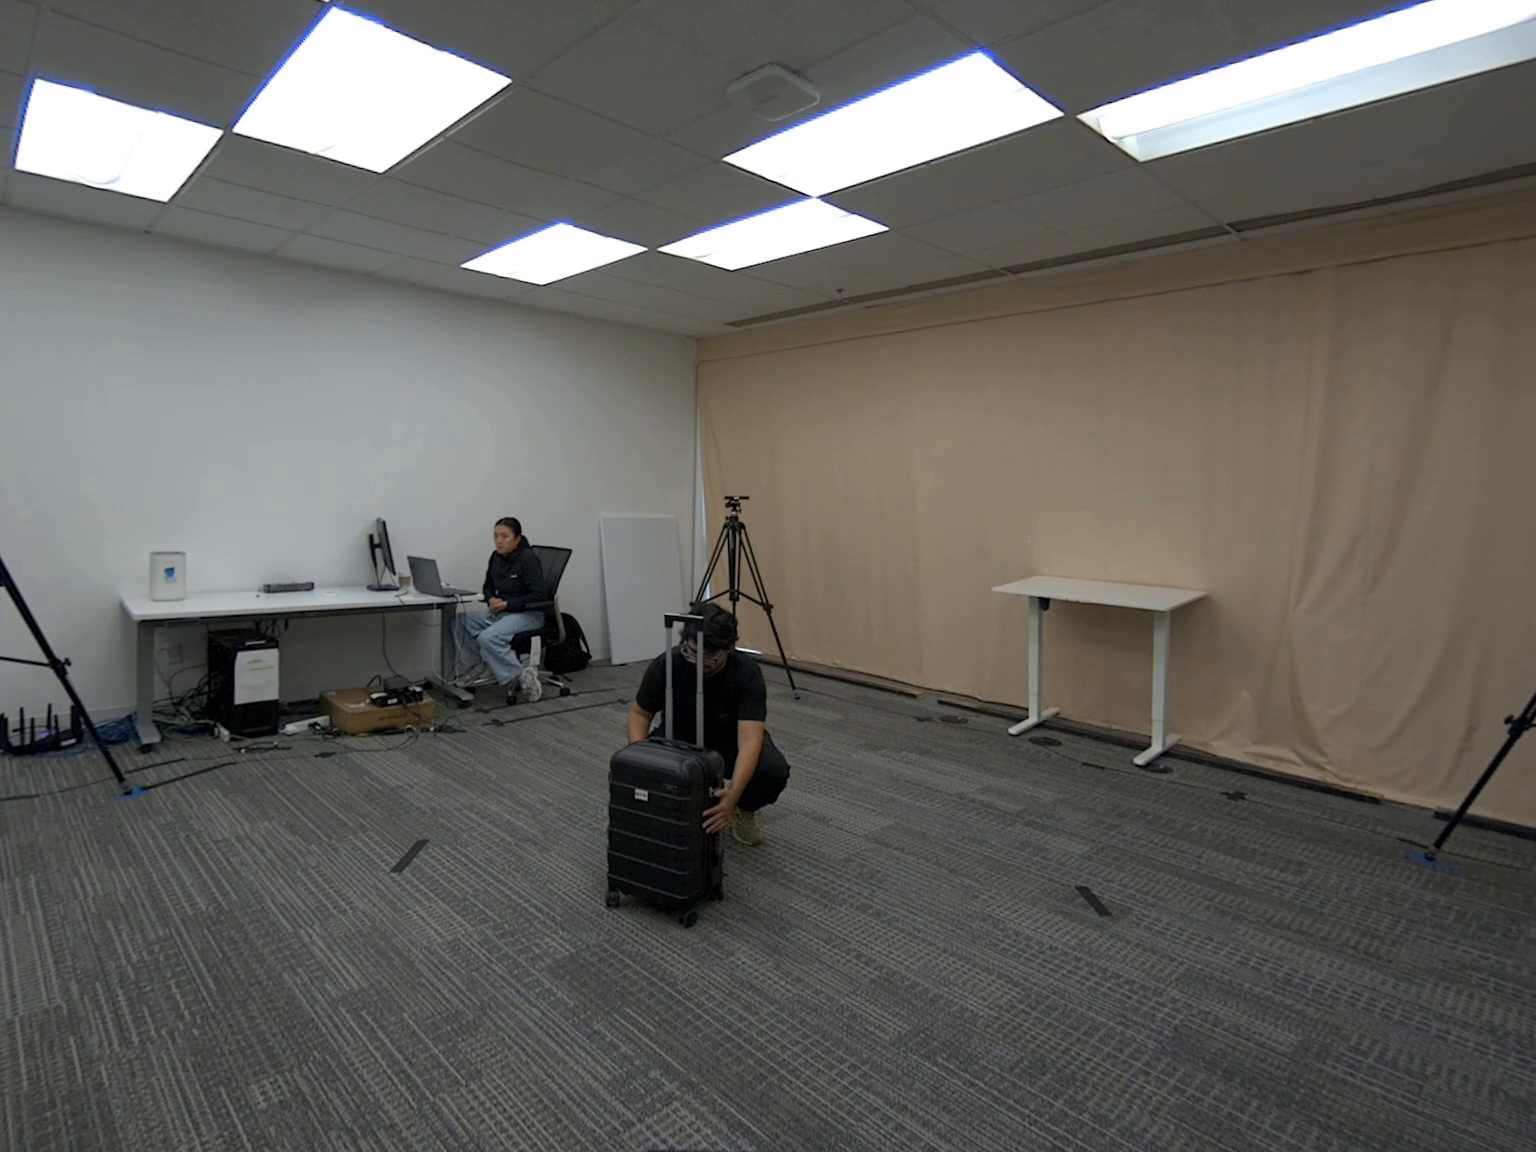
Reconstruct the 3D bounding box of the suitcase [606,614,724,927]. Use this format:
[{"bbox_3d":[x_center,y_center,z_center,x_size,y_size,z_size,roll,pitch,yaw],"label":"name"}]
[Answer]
[{"bbox_3d":[-0.355,0.651,2.851,0.392,0.975,0.253,3,5,27],"label":"suitcase"}]
